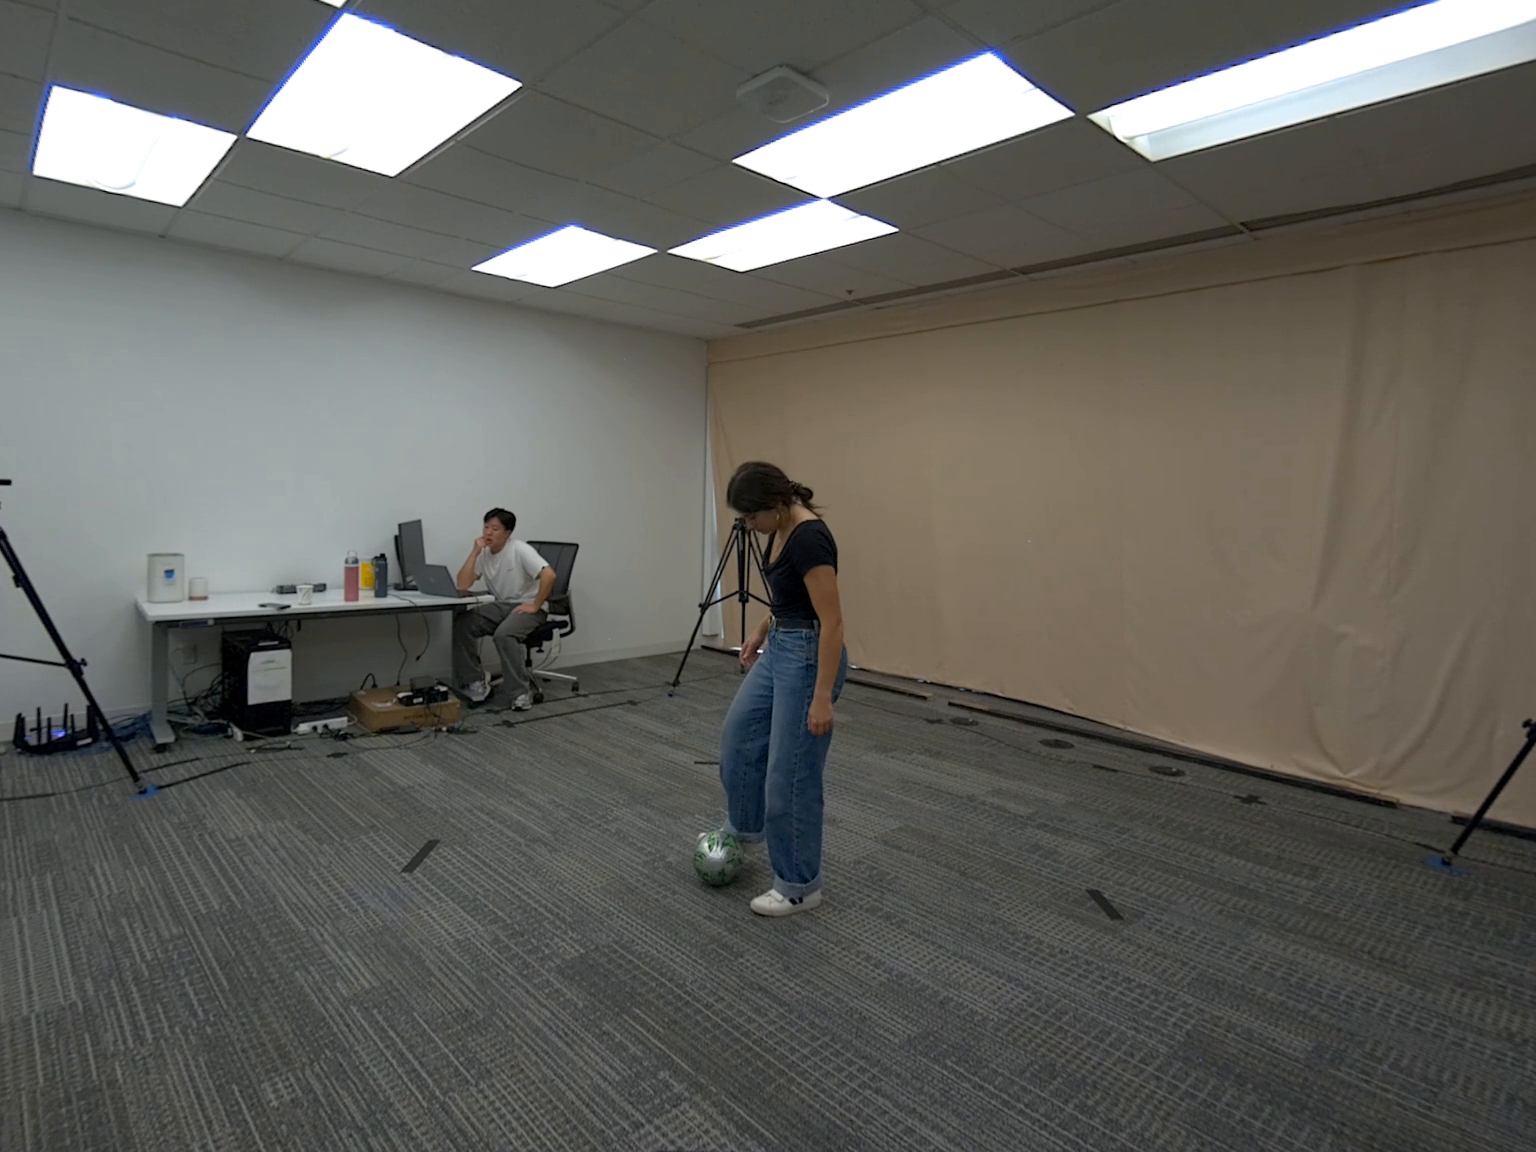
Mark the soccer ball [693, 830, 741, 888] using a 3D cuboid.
[{"bbox_3d":[-0.190,1.020,3.041,0.187,0.187,0.188,1,4,-1],"label":"soccer ball"}]
